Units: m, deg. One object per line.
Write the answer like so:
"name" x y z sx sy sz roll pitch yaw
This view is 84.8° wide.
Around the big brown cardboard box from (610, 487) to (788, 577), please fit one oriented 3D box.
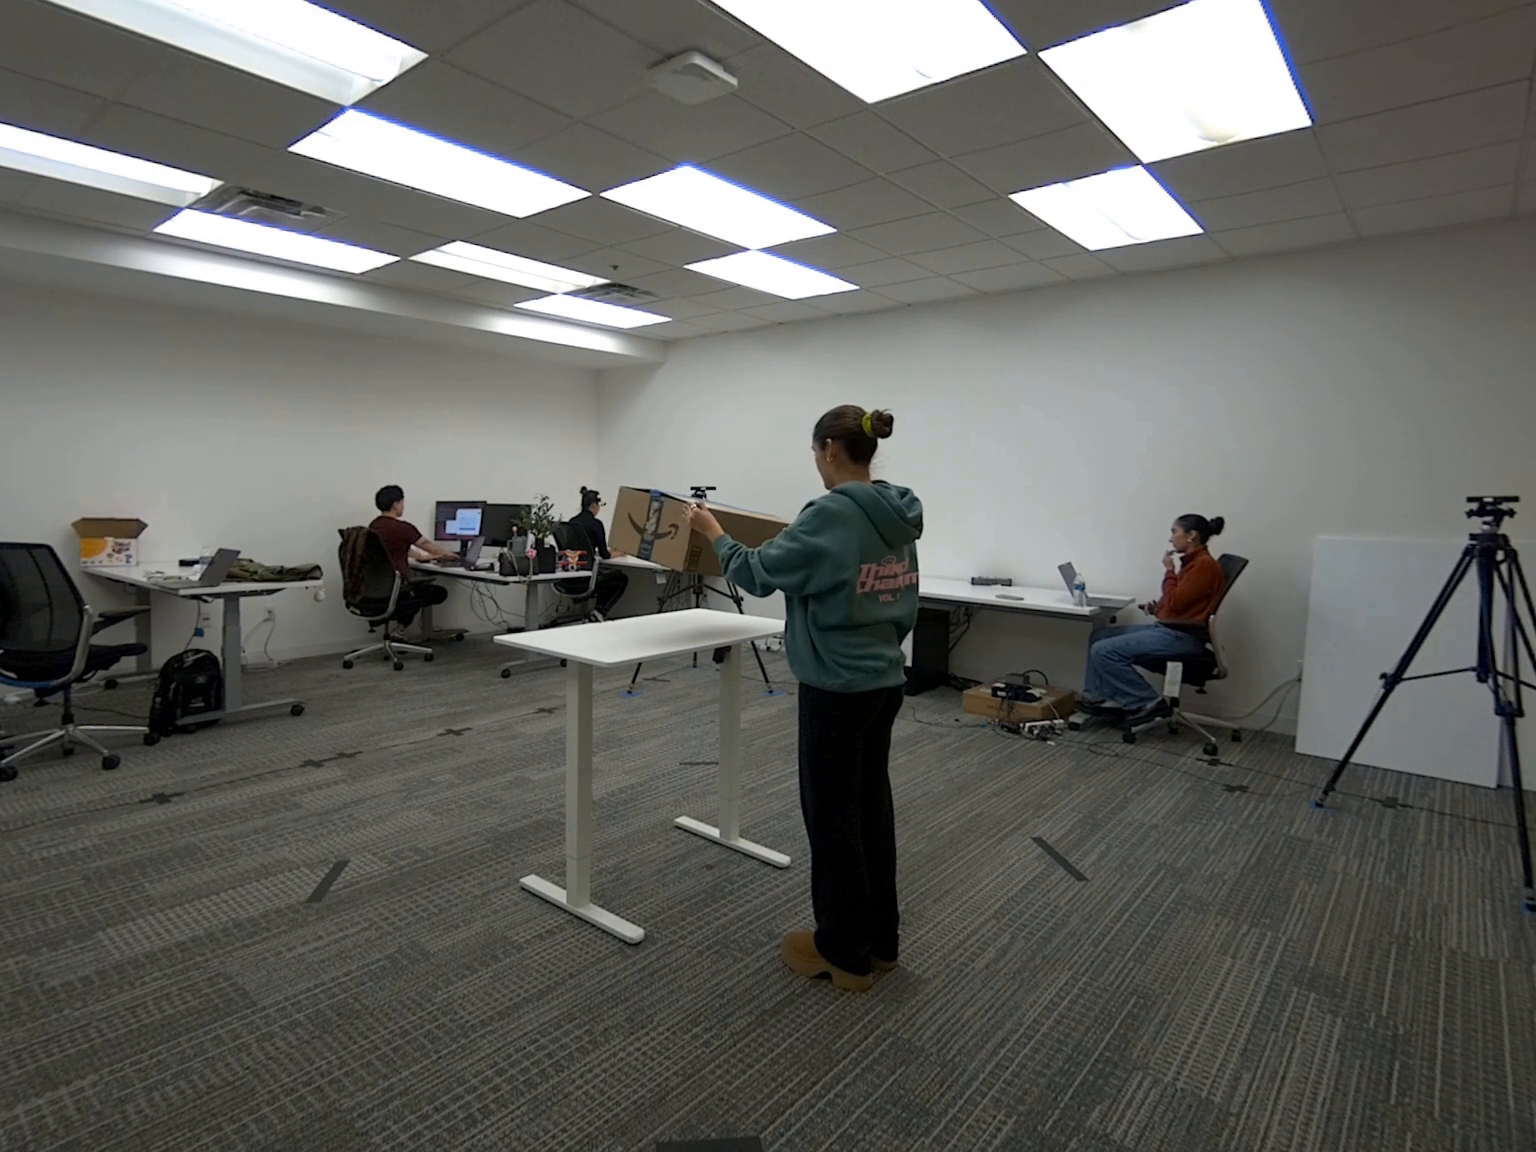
"big brown cardboard box" -0.200 -0.134 2.949 0.568 0.233 0.434 9 5 -46
